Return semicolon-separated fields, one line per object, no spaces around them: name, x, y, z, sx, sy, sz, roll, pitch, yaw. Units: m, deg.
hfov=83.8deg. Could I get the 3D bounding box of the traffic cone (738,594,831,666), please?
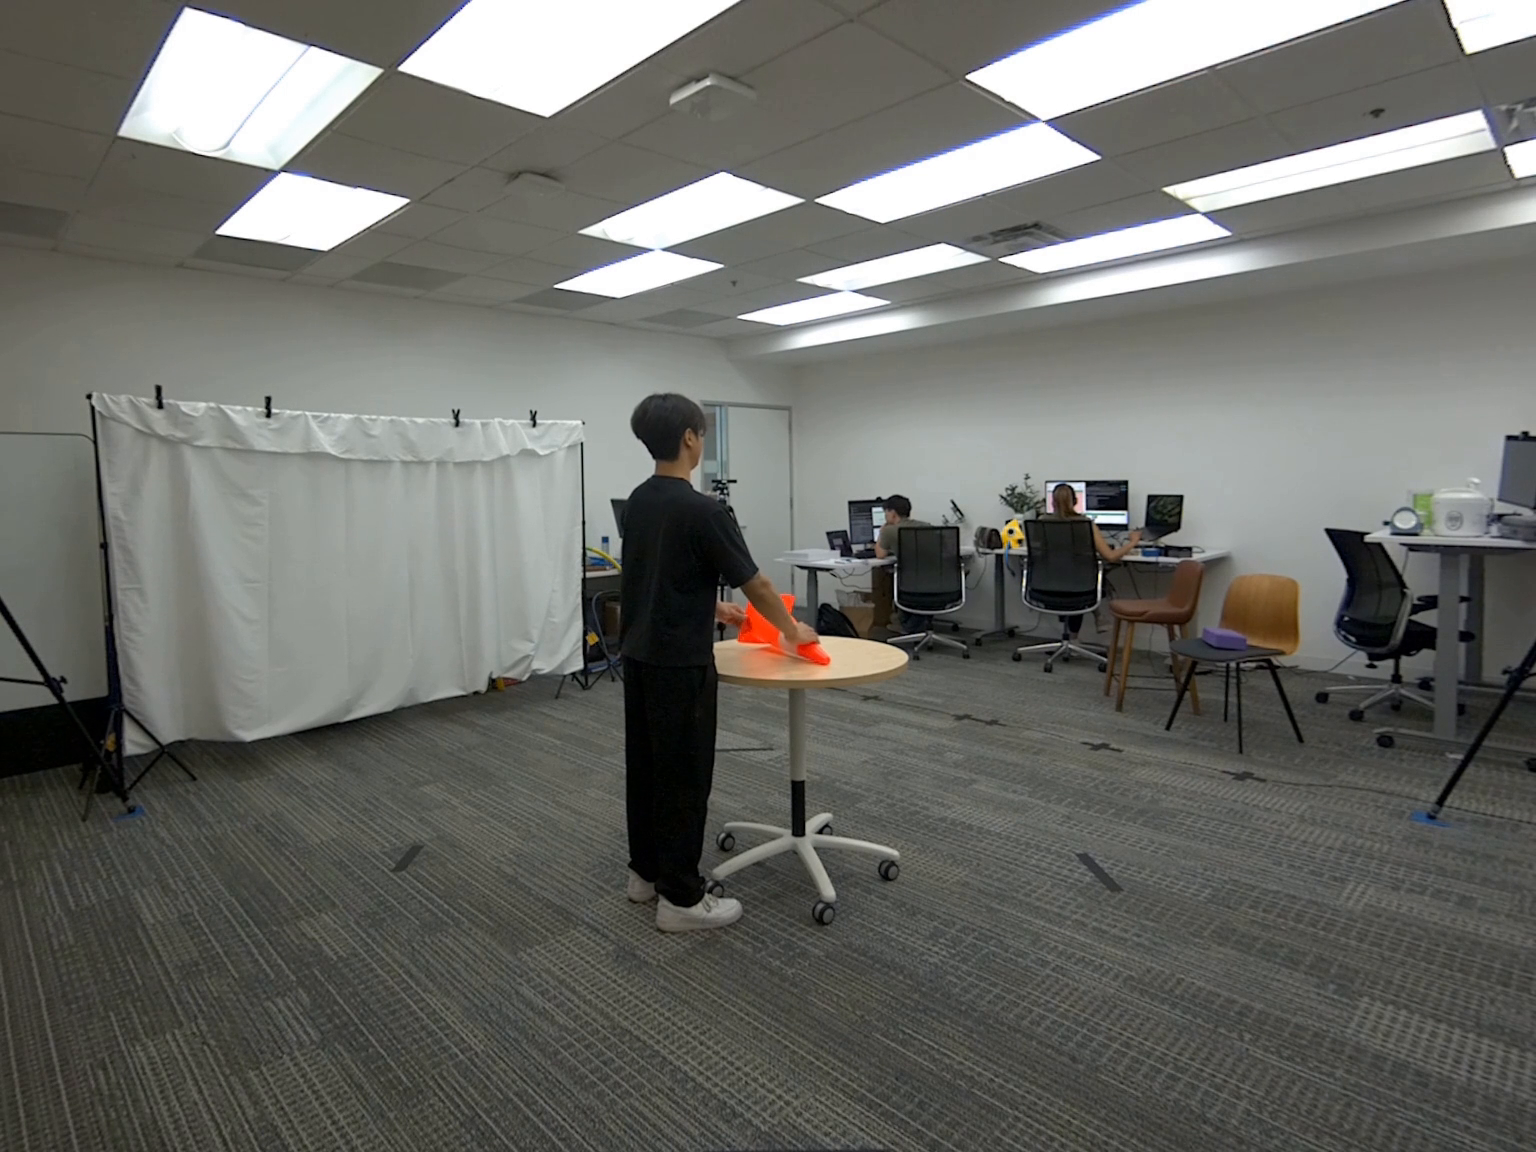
traffic cone;0.103;0.222;2.954;0.197;0.203;0.398;7;14;-35
